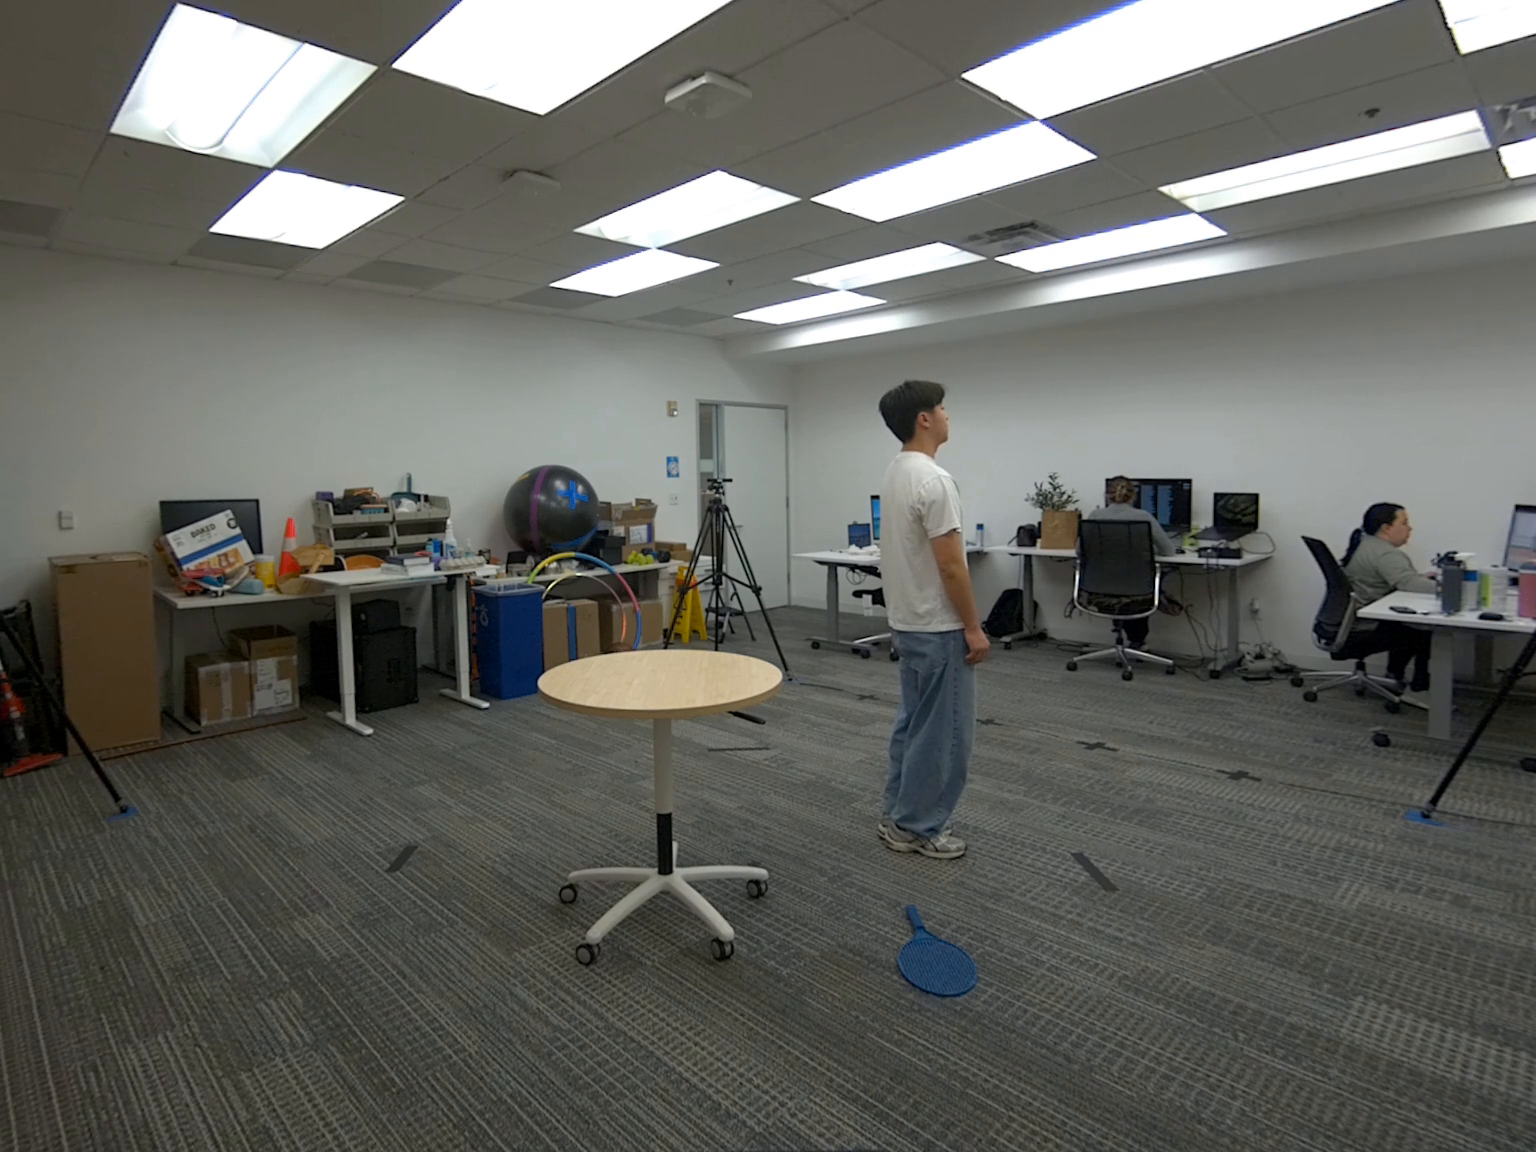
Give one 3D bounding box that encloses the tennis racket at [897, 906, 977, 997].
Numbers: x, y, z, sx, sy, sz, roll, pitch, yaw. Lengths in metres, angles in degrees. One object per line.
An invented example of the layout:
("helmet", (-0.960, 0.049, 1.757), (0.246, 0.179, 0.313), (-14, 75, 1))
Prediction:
("tennis racket", (0.478, 1.089, 2.510), (0.214, 0.031, 0.435), (-2, 8, -1))
